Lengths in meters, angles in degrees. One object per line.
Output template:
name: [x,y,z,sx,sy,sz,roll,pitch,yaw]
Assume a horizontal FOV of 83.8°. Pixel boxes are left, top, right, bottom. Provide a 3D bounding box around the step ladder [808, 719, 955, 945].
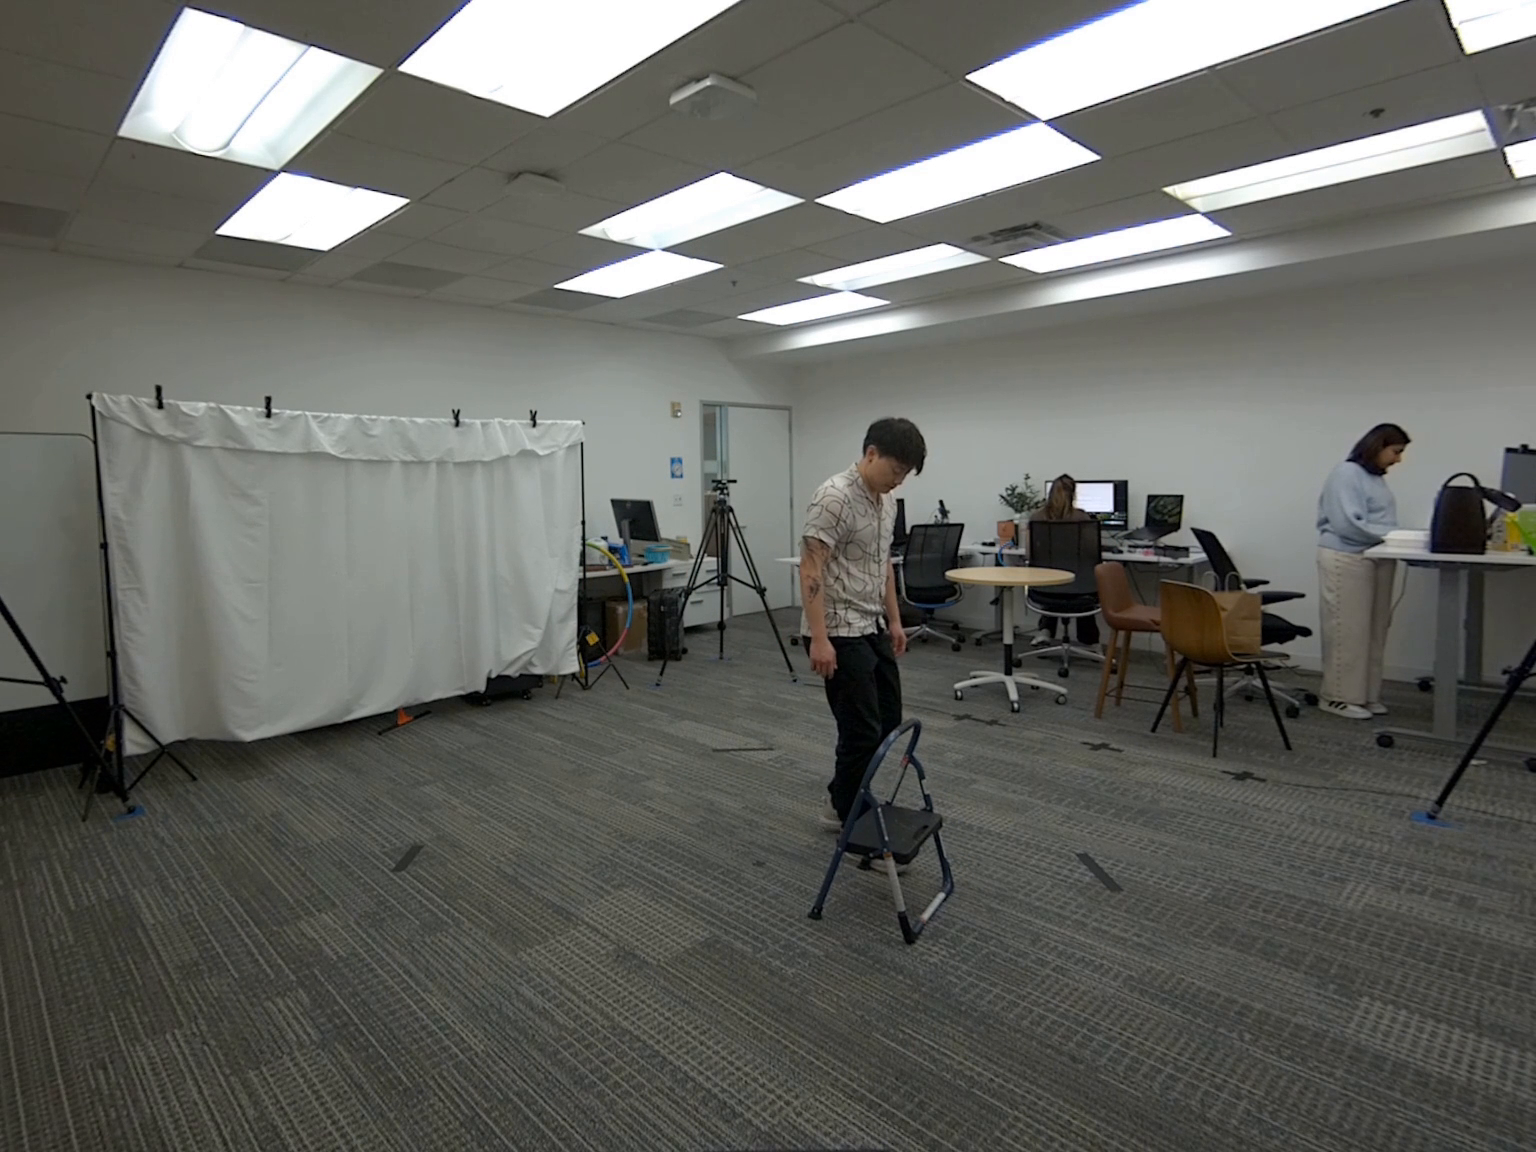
step ladder: [0.375,0.779,2.789,0.358,0.604,0.421,1,5,30]
